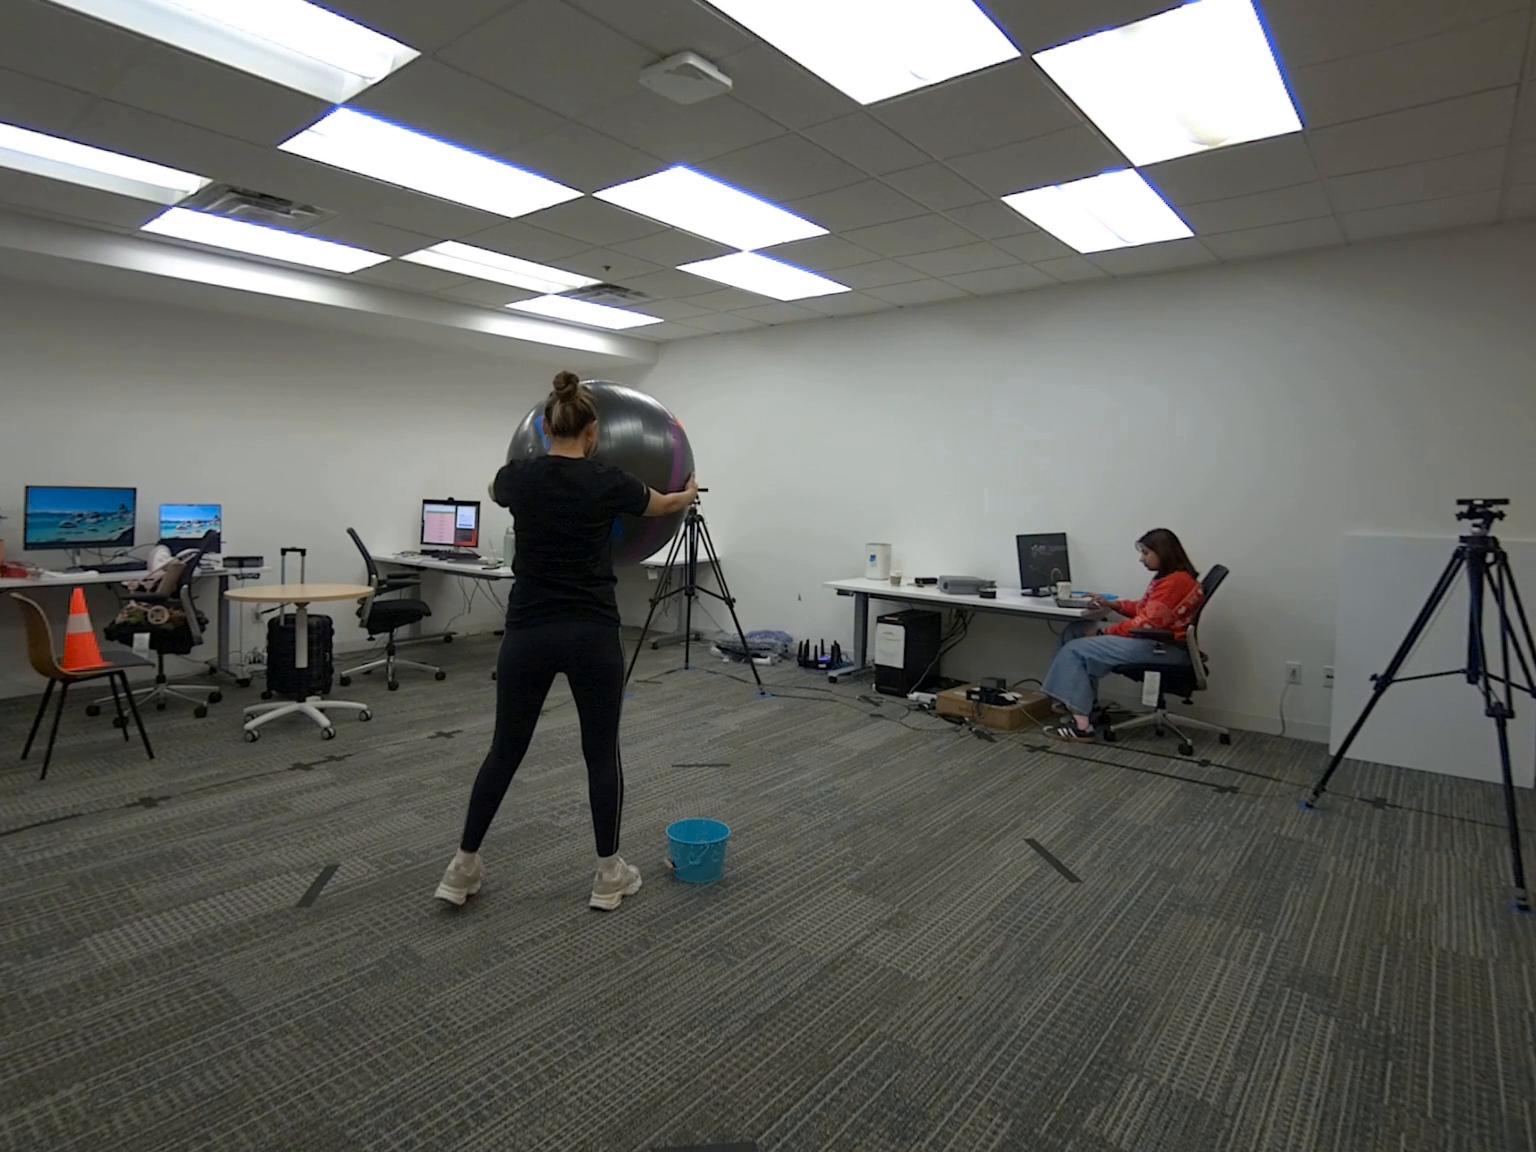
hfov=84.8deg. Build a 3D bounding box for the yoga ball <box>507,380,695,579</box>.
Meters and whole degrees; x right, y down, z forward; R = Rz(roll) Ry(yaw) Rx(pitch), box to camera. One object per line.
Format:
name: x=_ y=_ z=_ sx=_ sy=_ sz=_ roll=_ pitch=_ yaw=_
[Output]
yoga ball: x=-0.688 y=-0.394 z=3.406 sx=0.757 sy=0.756 sz=0.762 roll=1 pitch=4 yaw=-2
